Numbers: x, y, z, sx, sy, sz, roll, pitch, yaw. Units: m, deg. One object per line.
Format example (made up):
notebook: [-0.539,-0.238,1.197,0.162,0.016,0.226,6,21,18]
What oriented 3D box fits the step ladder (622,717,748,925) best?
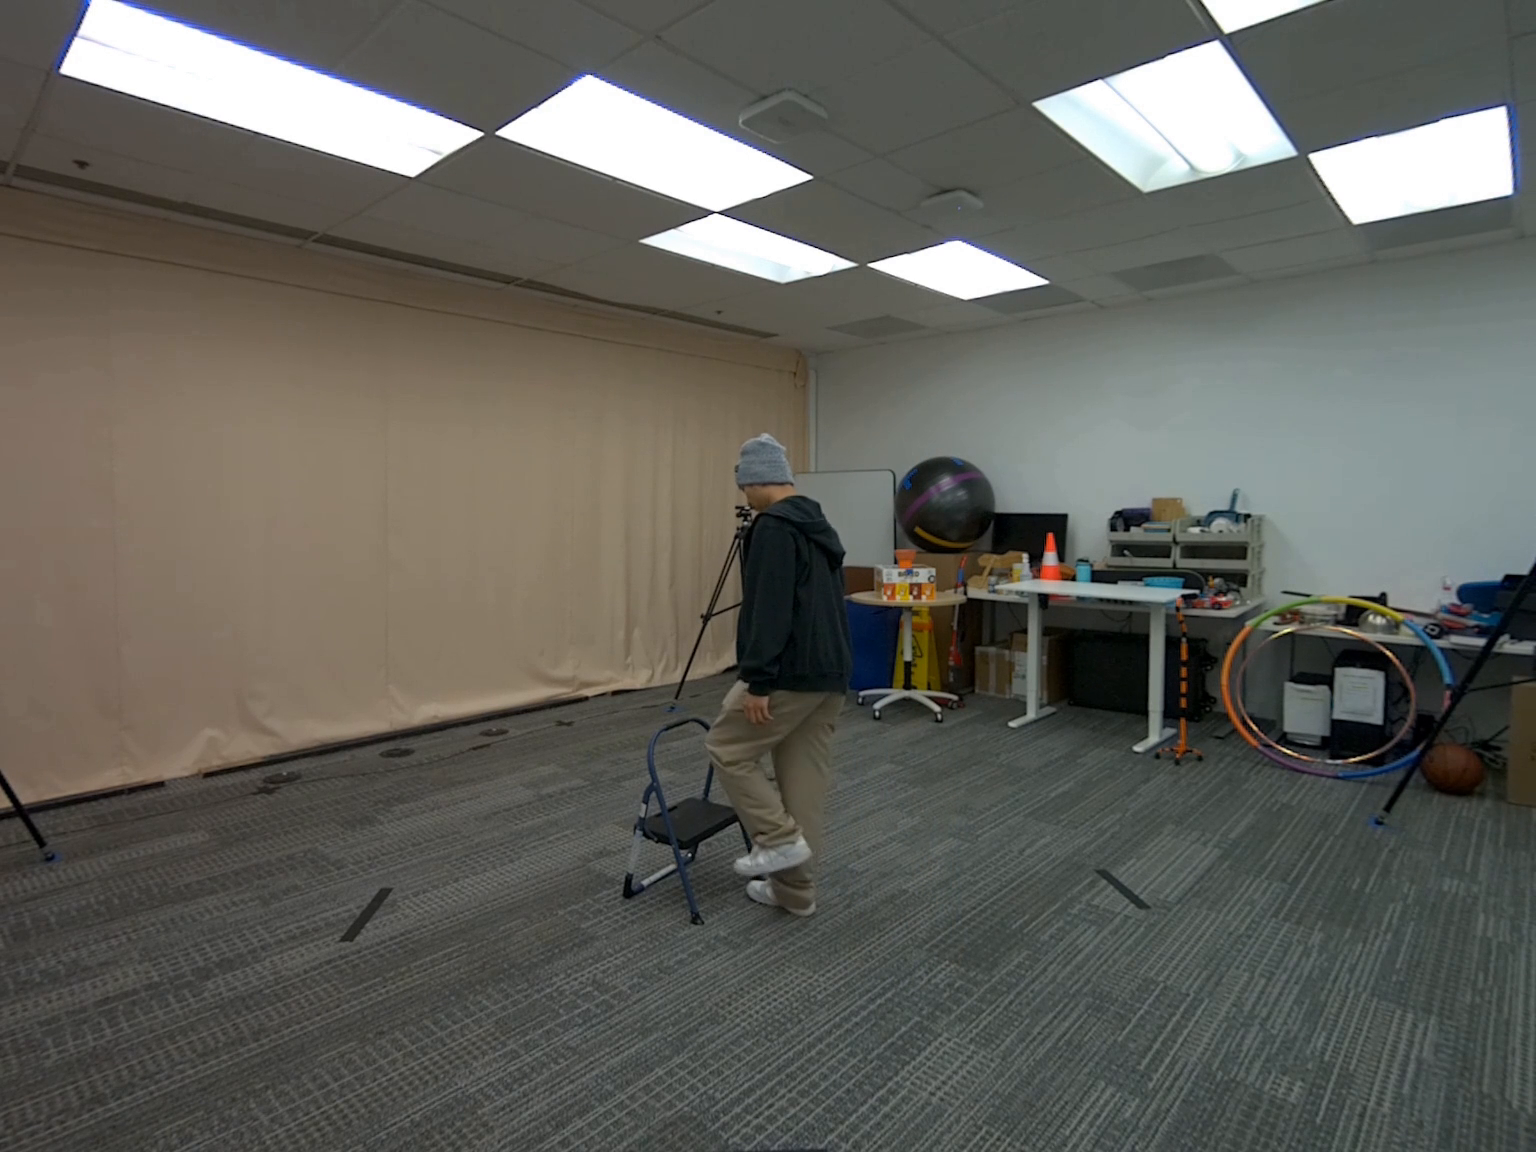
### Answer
step ladder: [-0.270,0.837,3.054,0.360,0.605,0.418,2,4,33]
